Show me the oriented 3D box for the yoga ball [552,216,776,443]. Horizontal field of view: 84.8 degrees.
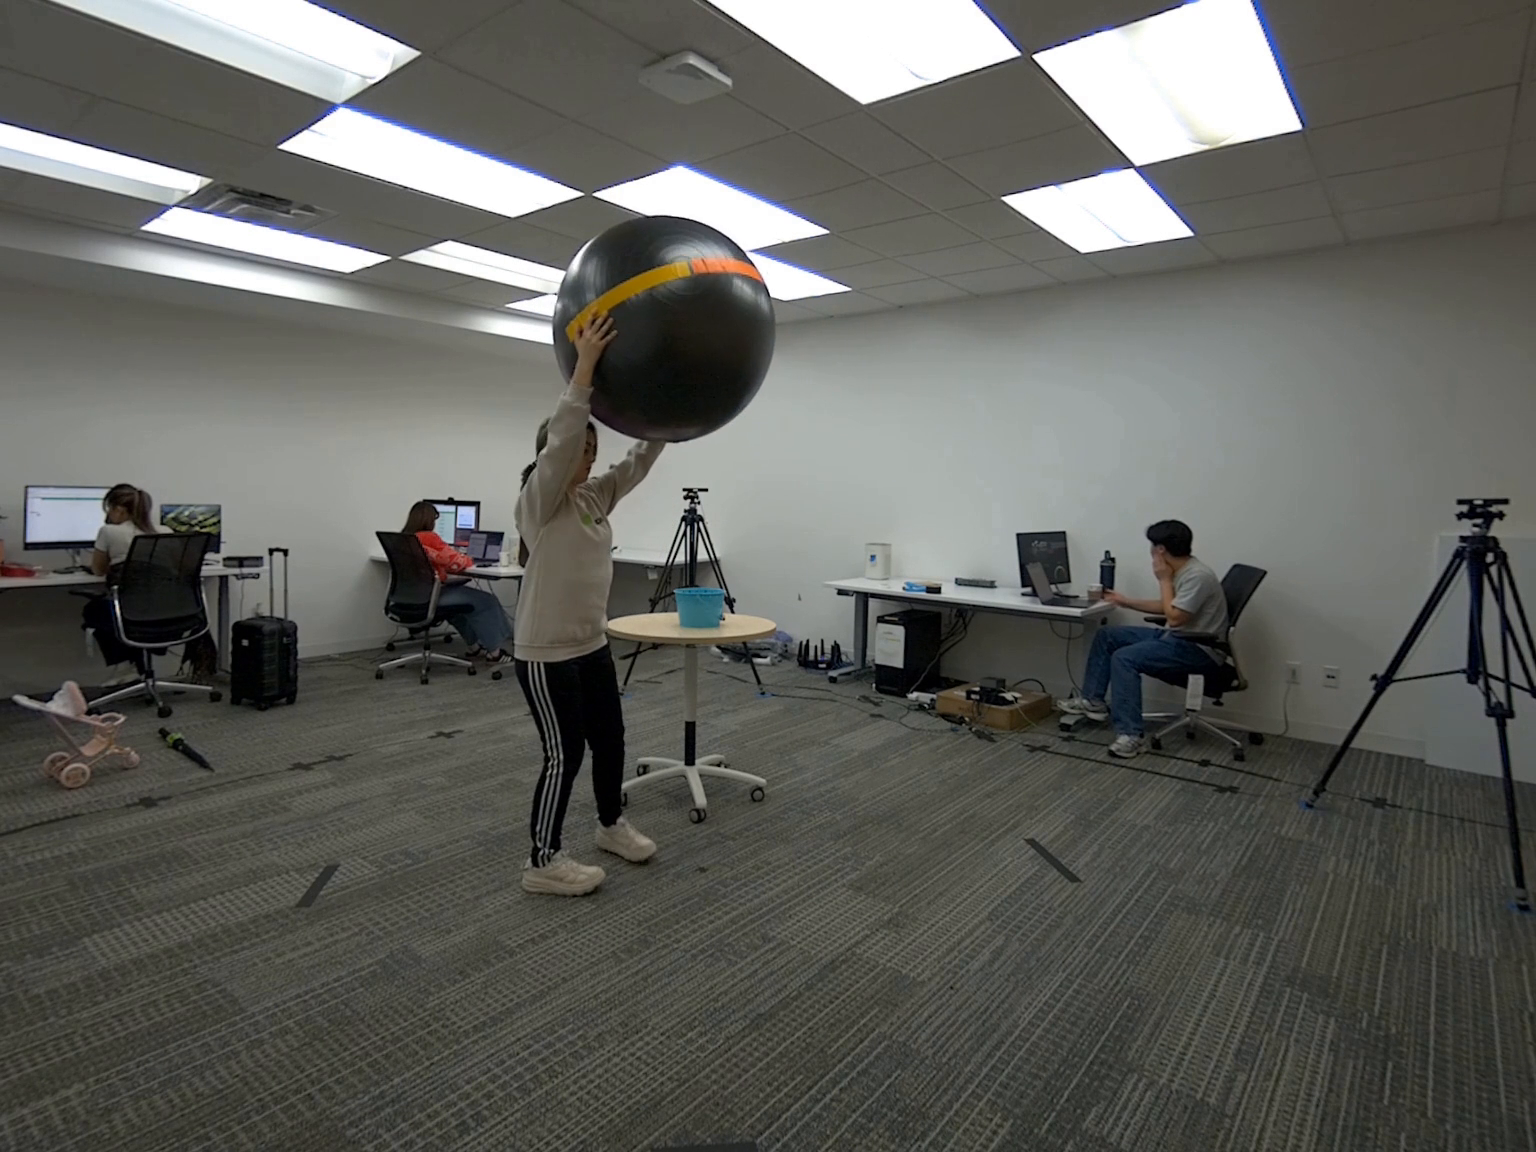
[{"bbox_3d":[-0.362,-0.833,2.914,0.757,0.756,0.761,1,4,-2],"label":"yoga ball"}]
